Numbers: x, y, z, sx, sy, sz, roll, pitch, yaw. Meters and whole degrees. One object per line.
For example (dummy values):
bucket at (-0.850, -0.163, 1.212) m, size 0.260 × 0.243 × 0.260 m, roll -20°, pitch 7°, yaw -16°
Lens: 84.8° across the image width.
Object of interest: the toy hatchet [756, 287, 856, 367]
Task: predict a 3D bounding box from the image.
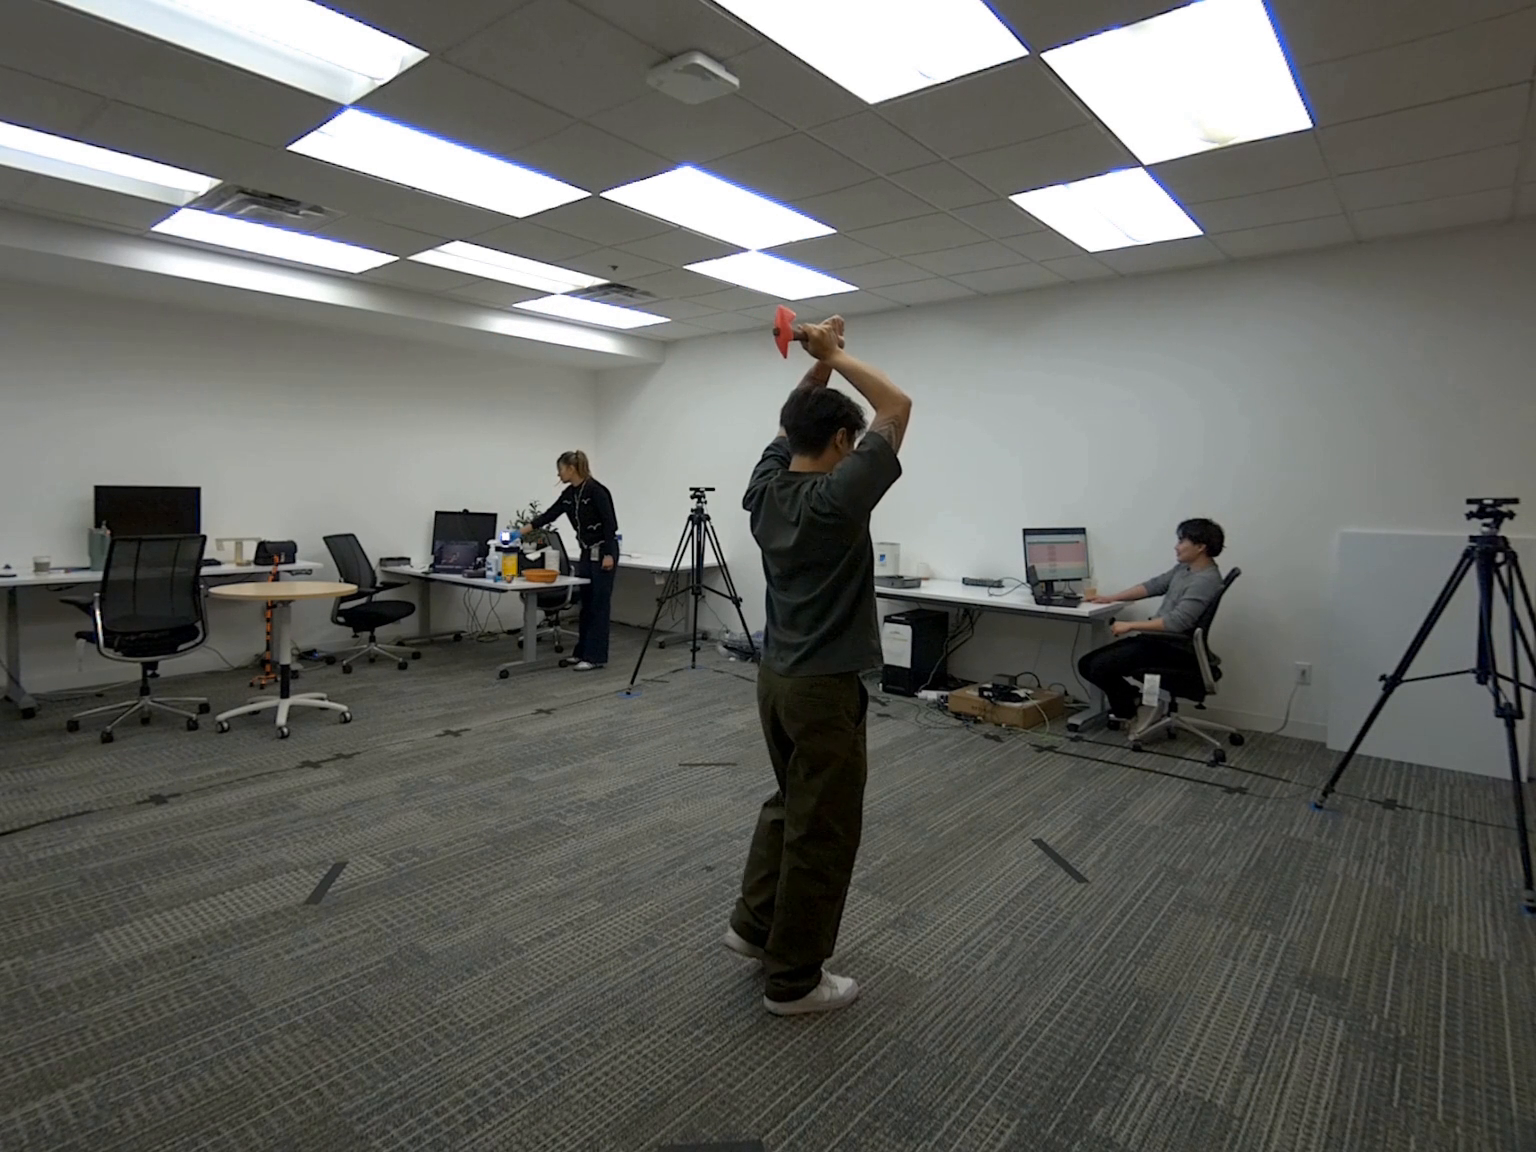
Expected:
toy hatchet at (0.103, -0.663, 2.230) m, size 0.267 × 0.129 × 0.030 m, roll -29°, pitch 10°, yaw -30°
